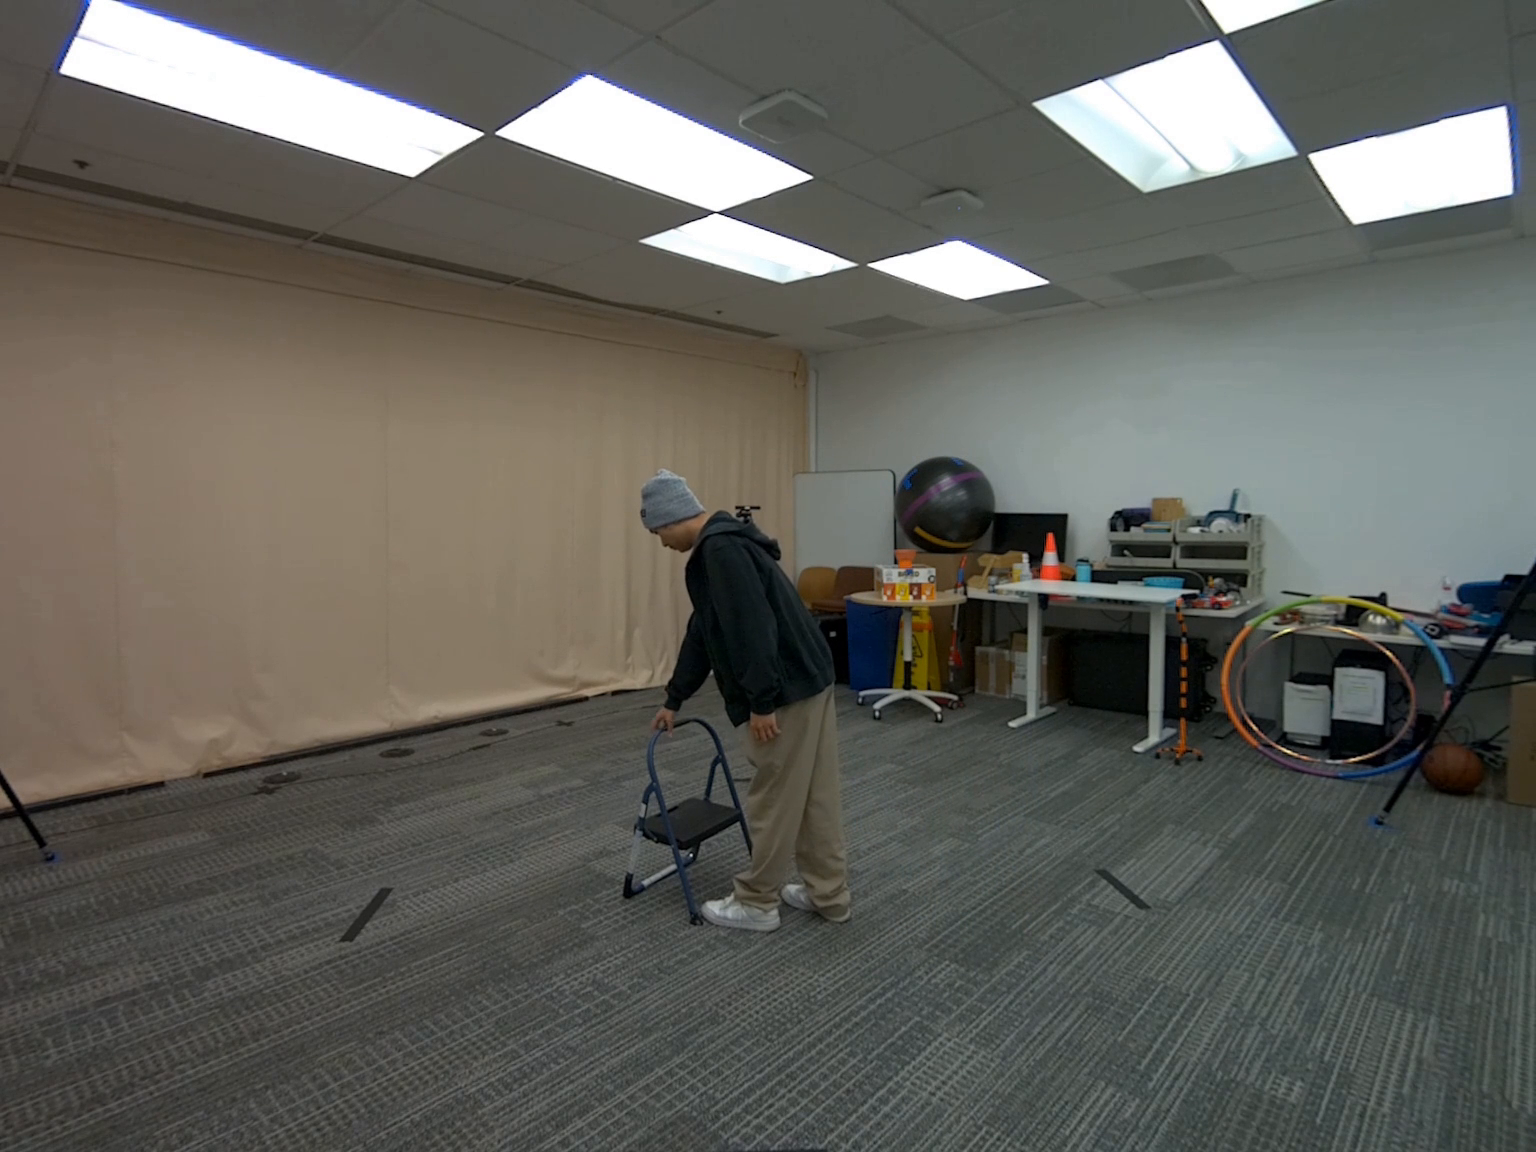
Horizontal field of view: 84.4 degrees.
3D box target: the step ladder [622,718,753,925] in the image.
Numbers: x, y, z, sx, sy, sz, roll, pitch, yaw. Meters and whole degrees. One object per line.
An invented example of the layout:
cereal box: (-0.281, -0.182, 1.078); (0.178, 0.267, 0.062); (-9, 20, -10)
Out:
step ladder: (-0.266, 0.837, 3.050); (0.360, 0.605, 0.418); (2, 4, 34)
